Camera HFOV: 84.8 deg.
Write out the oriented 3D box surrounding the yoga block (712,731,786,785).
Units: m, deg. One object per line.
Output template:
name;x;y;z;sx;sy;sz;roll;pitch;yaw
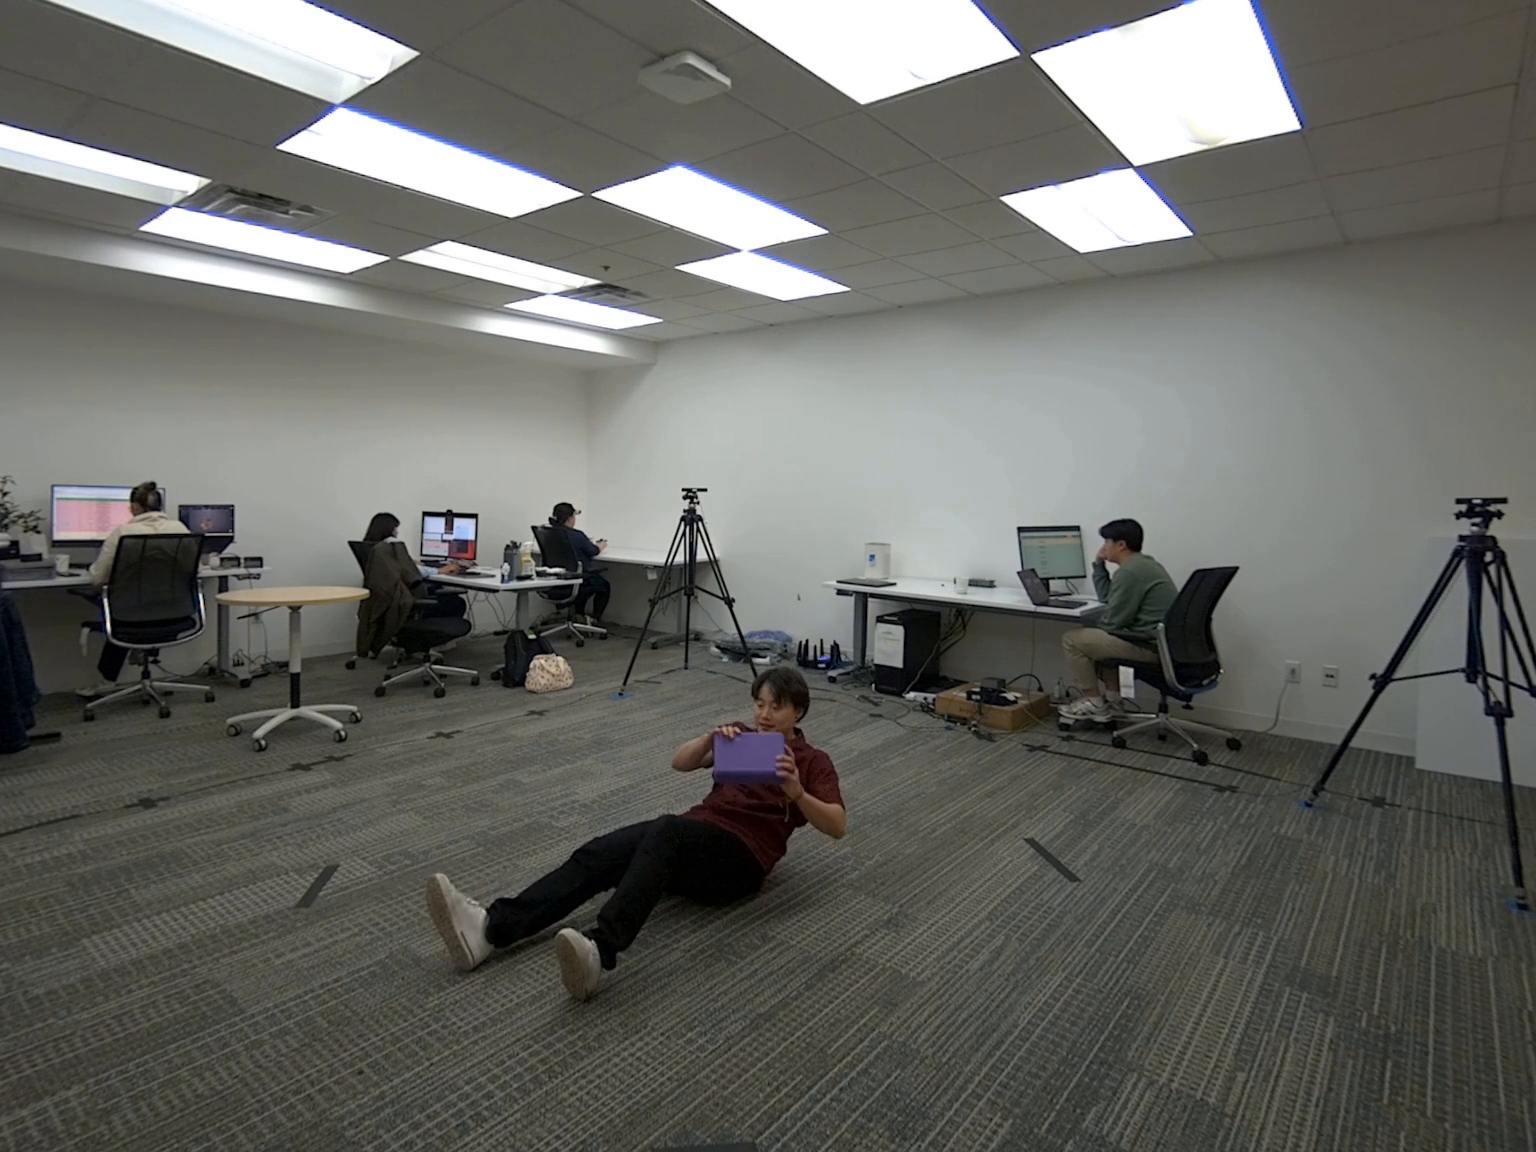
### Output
yoga block;-0.050;0.604;2.783;0.229;0.152;0.074;4;-33;1
